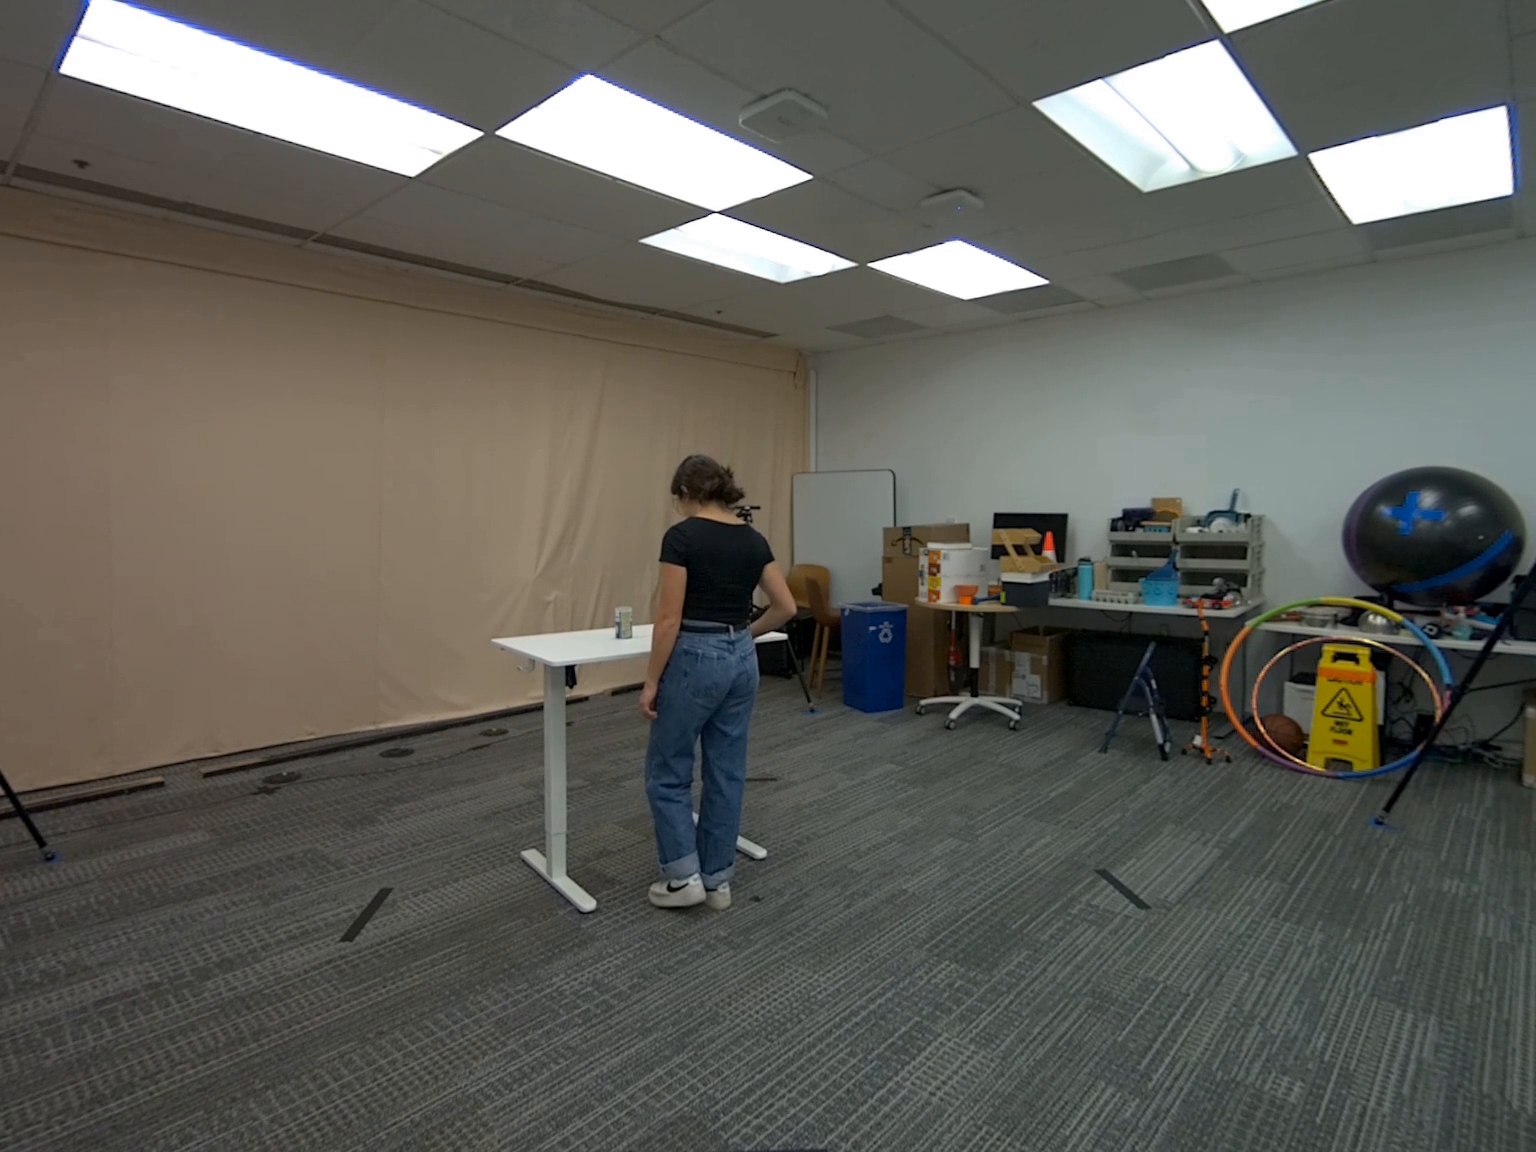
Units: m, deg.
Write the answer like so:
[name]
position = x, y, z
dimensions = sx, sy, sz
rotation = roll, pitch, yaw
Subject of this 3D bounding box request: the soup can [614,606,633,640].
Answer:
[soup can]
position = -0.565, 0.184, 3.281
dimensions = 0.067, 0.121, 0.067
rotation = 3, 3, -2
